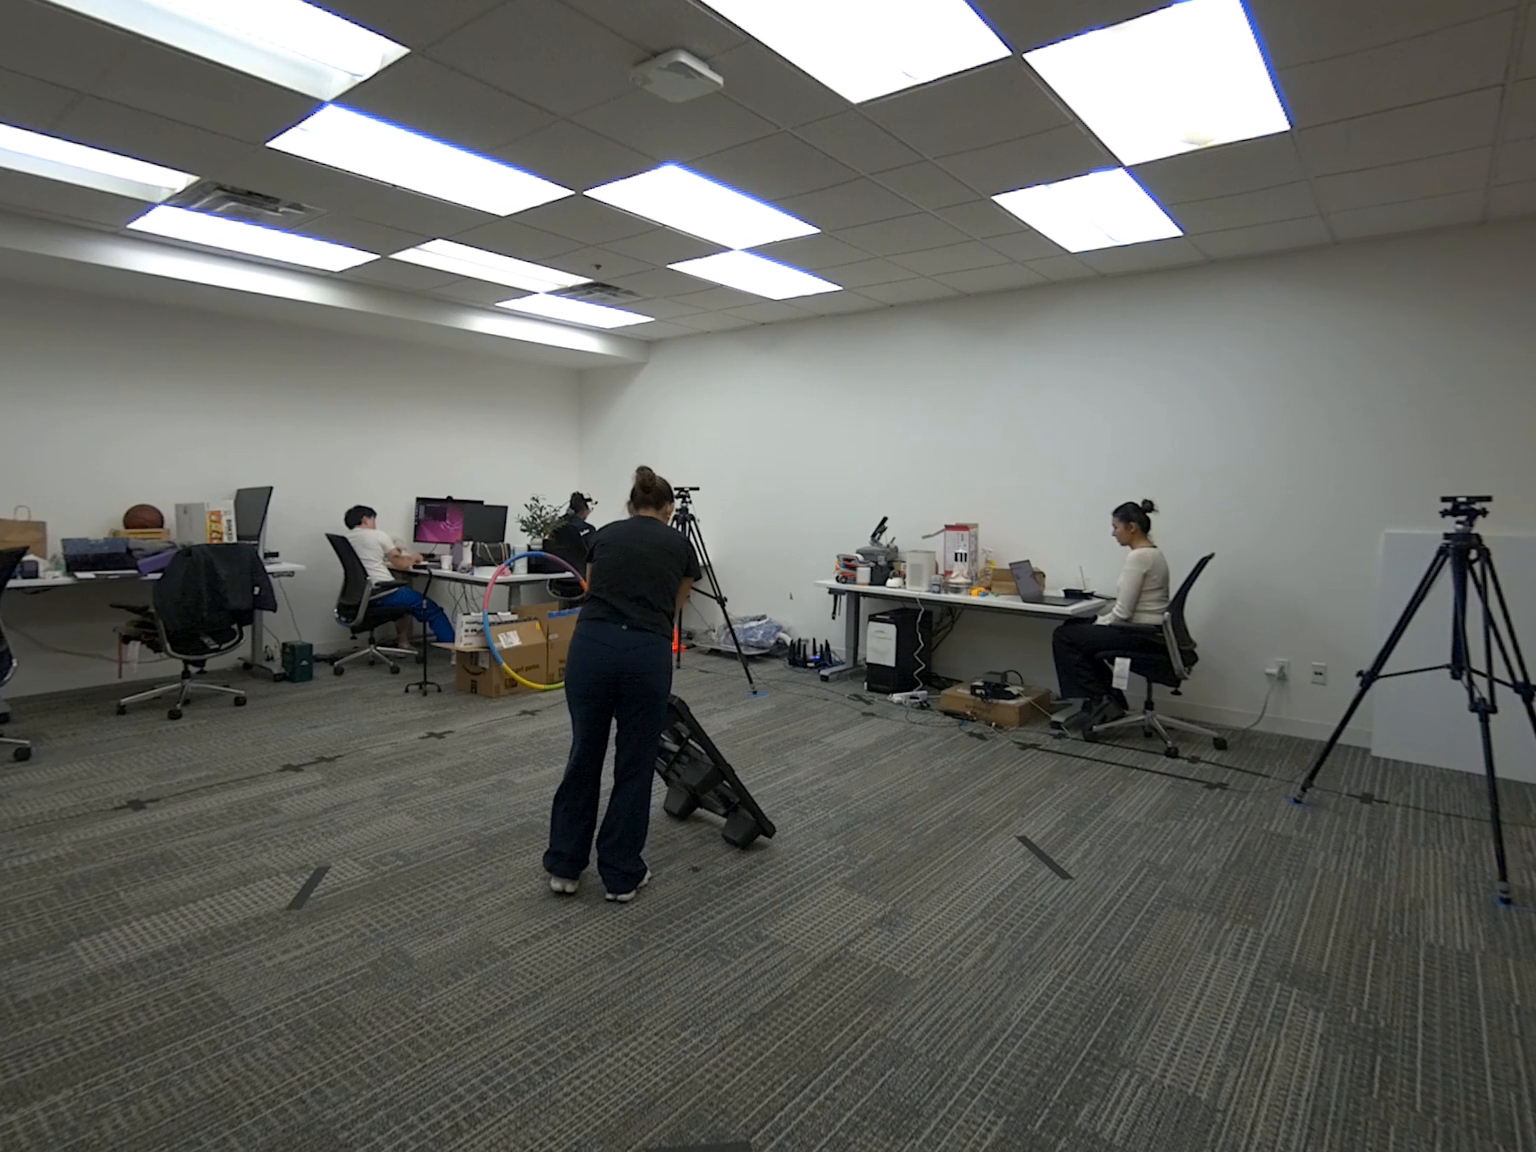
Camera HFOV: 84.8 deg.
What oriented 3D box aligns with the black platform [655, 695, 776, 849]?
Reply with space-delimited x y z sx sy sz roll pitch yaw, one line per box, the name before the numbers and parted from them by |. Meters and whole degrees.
black platform | -0.363 0.718 3.324 0.626 0.779 0.143 6 45 48
